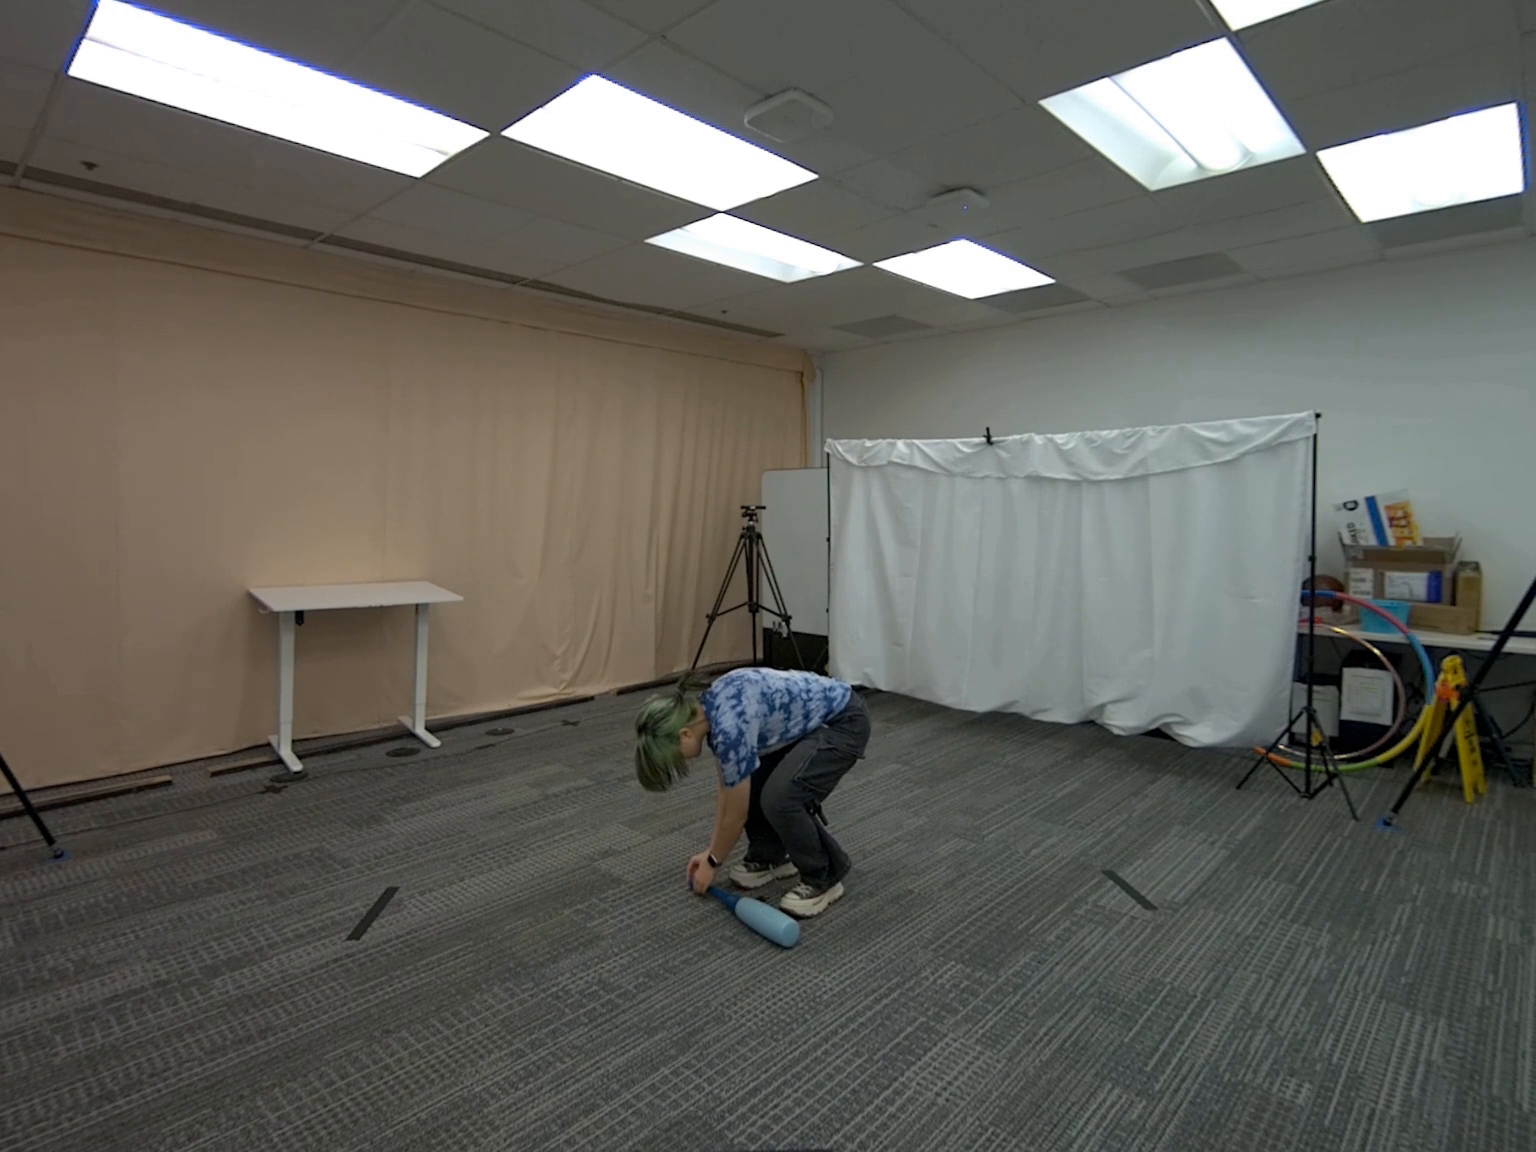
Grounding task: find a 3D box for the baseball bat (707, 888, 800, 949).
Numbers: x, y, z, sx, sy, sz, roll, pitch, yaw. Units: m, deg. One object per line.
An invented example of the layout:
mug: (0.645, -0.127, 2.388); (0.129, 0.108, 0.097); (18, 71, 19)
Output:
baseball bat: (-0.088, 1.109, 2.860); (0.086, 0.089, 0.559); (-2, 3, -33)
